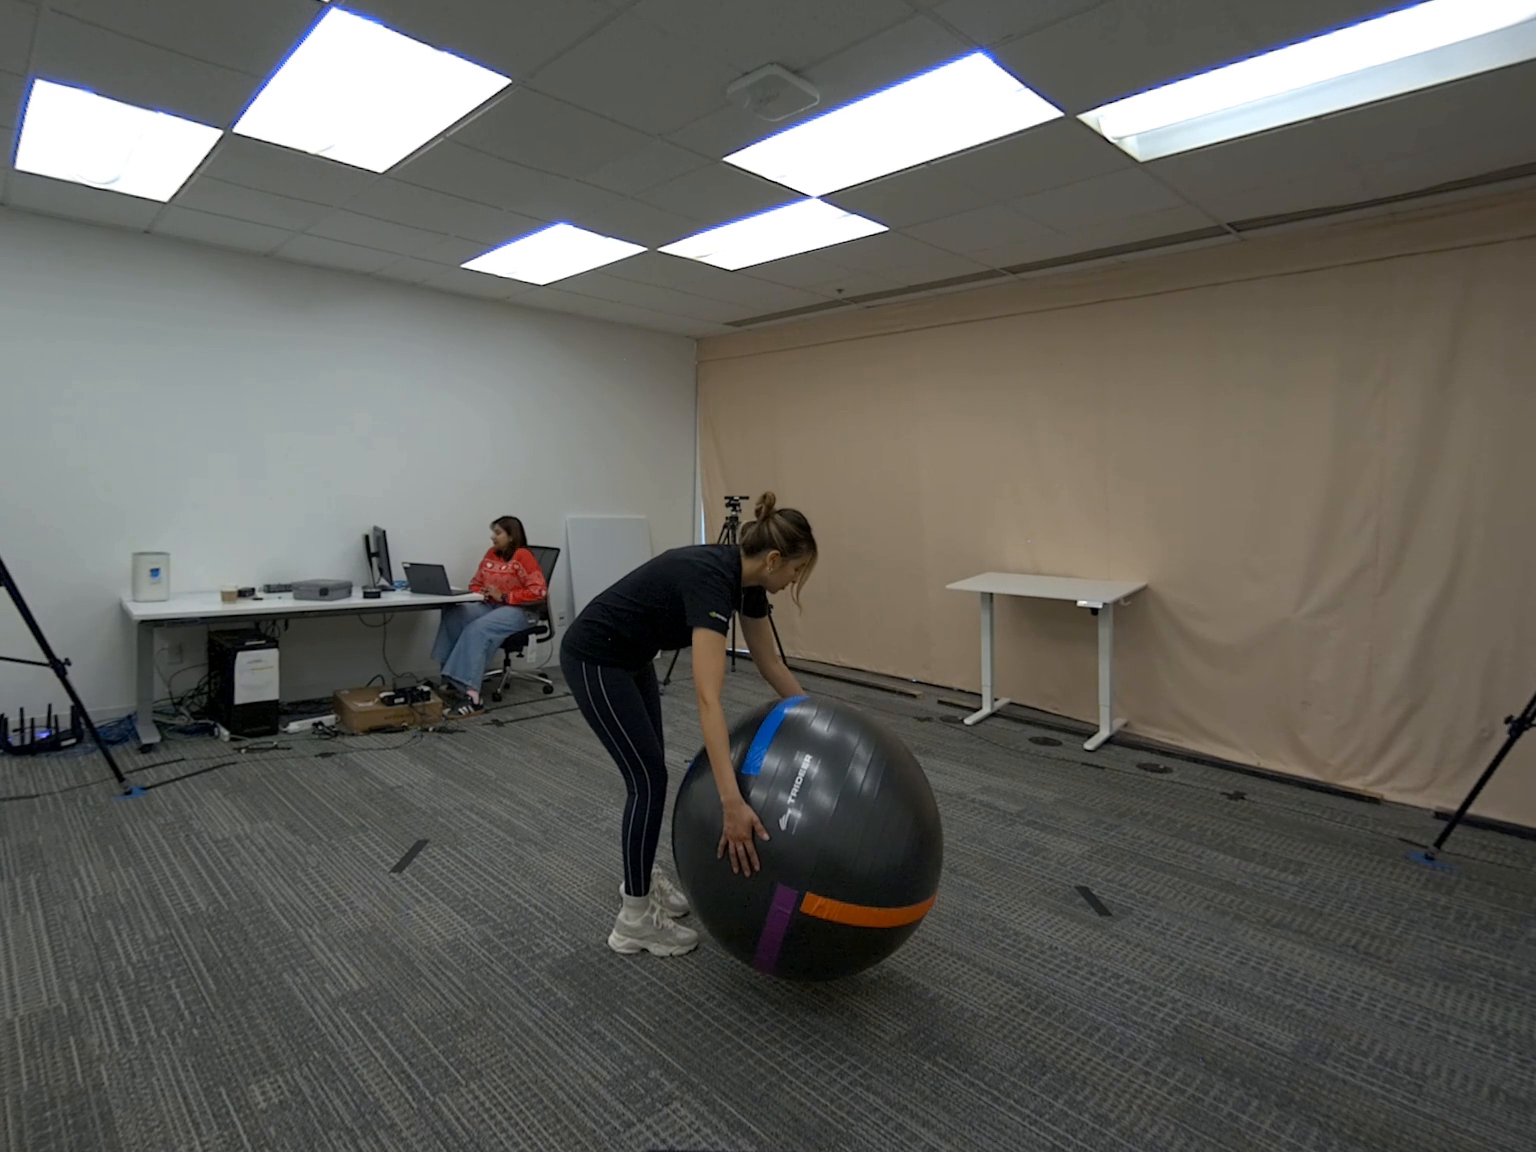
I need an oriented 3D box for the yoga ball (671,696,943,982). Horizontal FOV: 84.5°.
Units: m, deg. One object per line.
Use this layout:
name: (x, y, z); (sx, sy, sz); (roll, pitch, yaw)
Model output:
yoga ball: (0.111, 0.734, 2.390); (0.757, 0.756, 0.761); (1, 4, -1)
